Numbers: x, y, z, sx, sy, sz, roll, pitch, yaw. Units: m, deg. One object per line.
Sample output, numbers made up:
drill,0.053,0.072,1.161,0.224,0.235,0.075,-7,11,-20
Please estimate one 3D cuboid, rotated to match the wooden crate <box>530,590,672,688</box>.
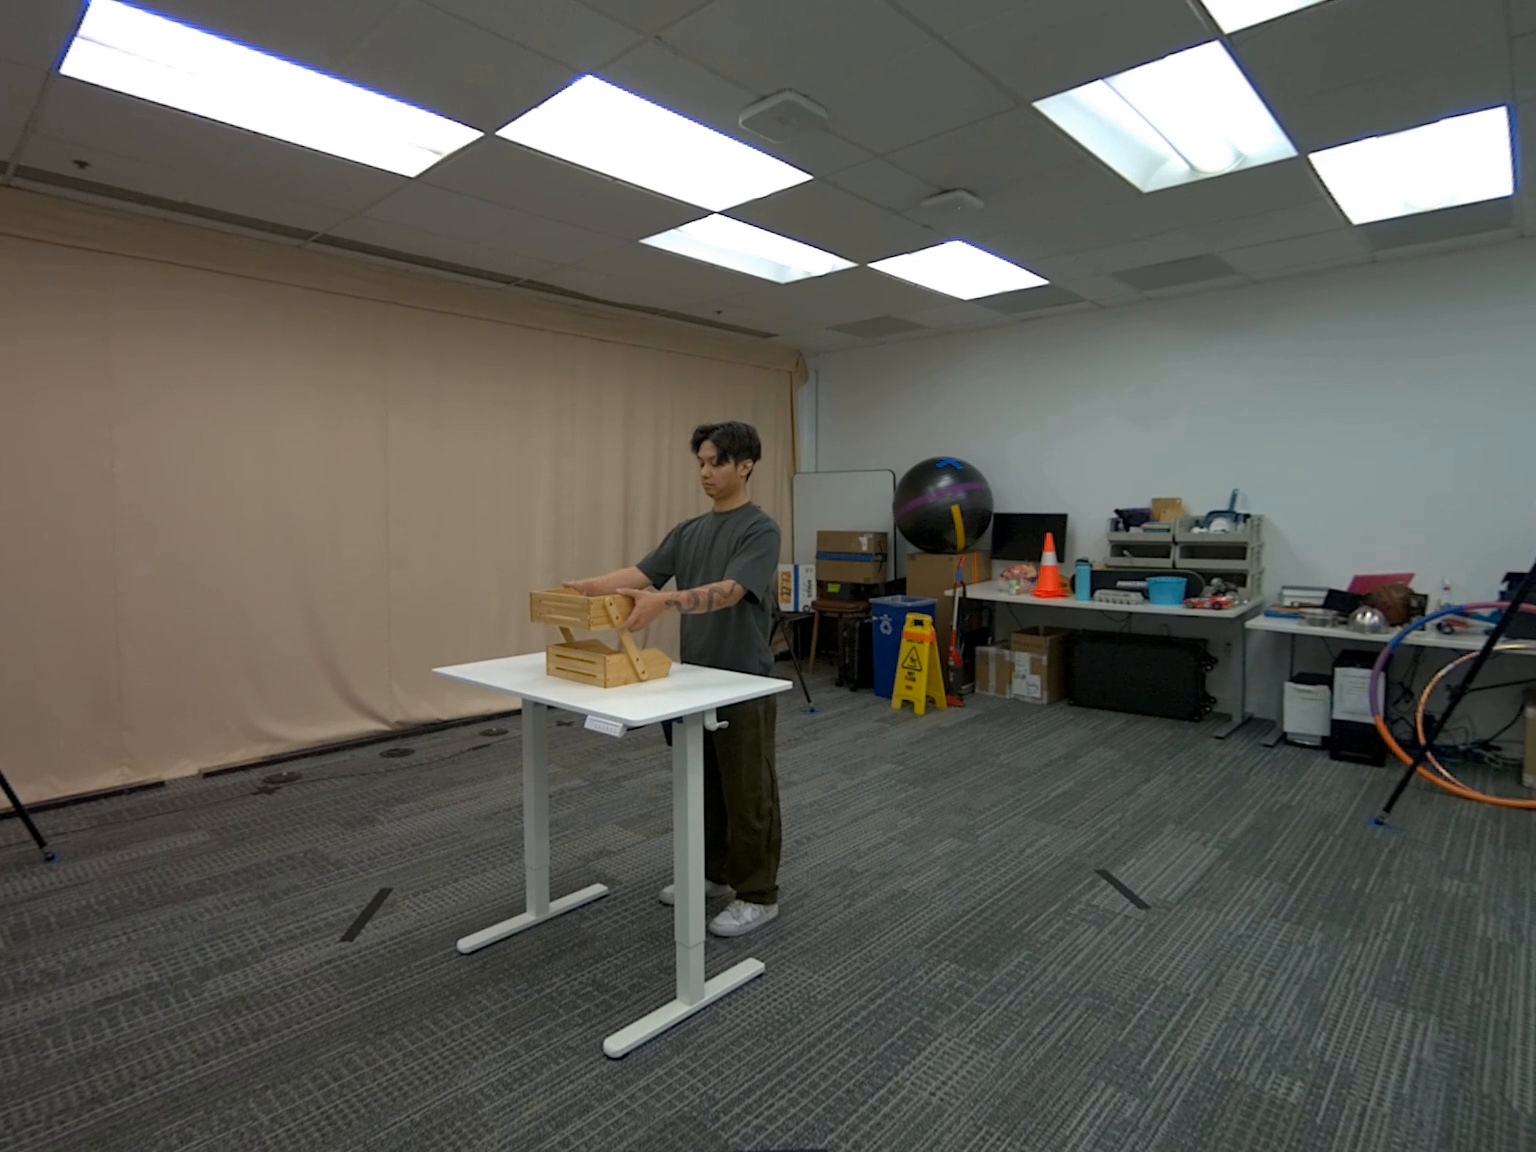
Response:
wooden crate,-0.501,0.173,2.522,0.335,0.273,0.293,2,5,43
